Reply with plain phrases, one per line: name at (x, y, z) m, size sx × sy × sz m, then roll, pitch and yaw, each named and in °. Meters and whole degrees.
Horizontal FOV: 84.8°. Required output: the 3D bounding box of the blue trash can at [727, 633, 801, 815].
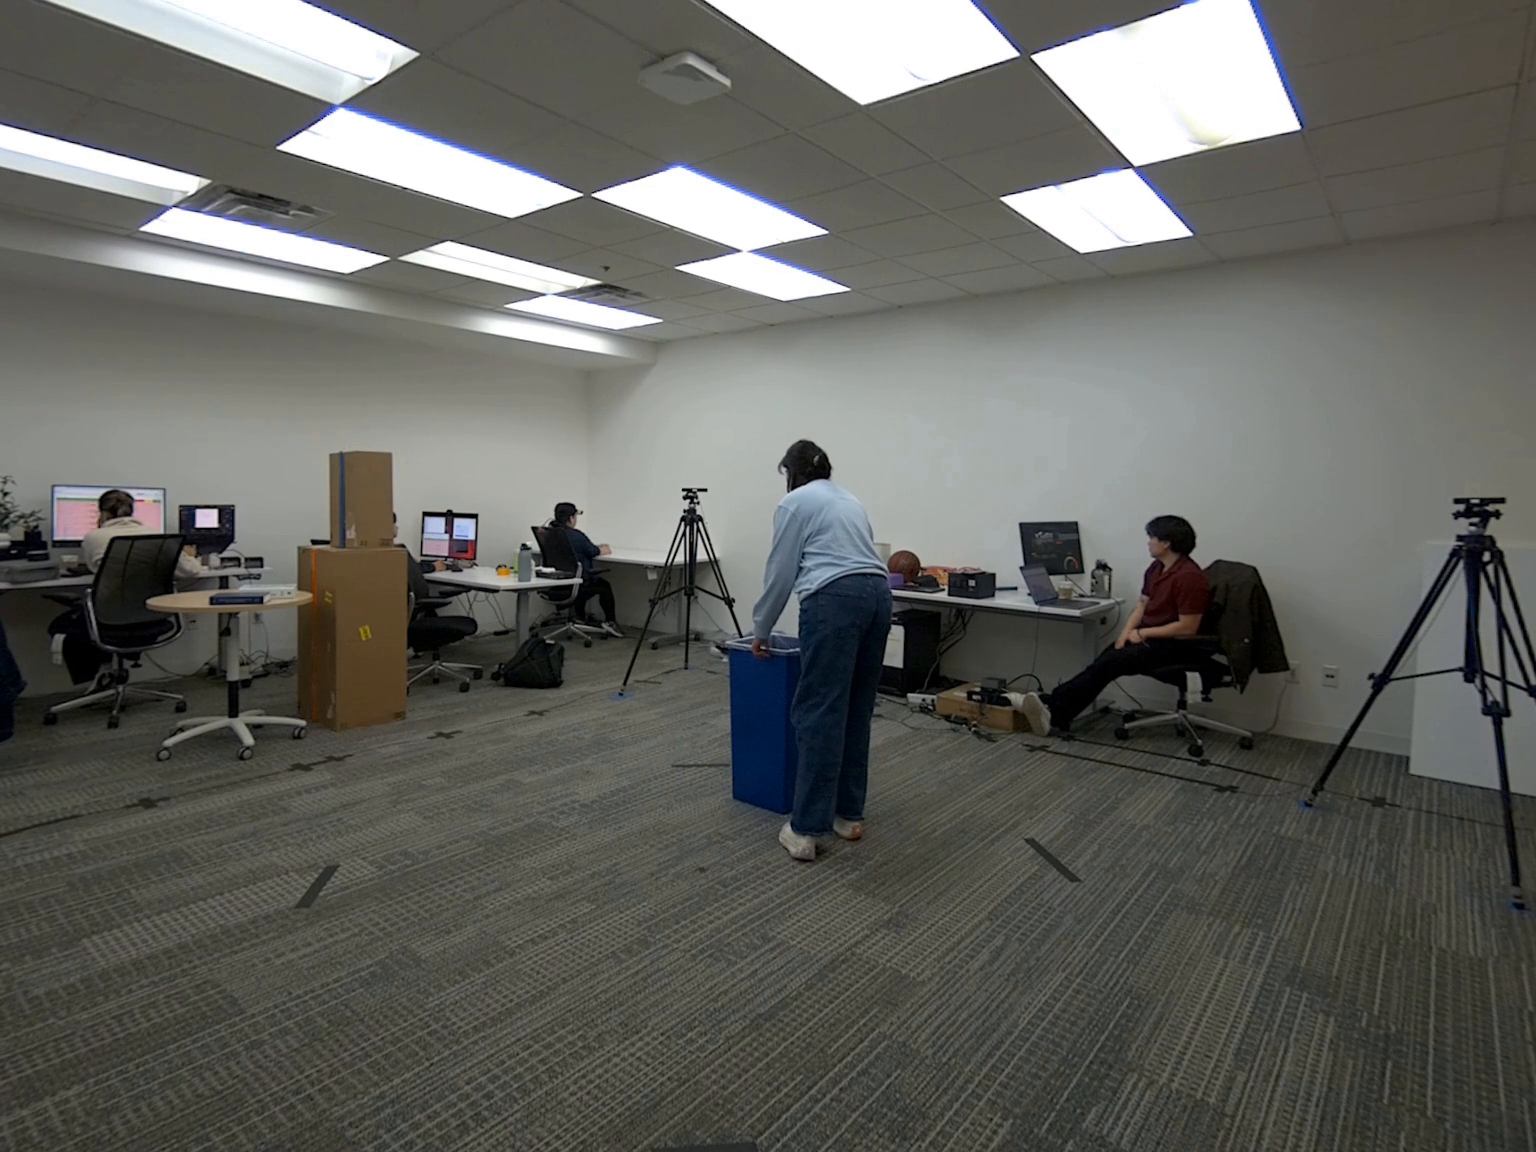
blue trash can at (0.028, 0.647, 3.847) m, size 0.386 × 0.712 × 0.366 m, roll 3°, pitch 3°, yaw 39°
